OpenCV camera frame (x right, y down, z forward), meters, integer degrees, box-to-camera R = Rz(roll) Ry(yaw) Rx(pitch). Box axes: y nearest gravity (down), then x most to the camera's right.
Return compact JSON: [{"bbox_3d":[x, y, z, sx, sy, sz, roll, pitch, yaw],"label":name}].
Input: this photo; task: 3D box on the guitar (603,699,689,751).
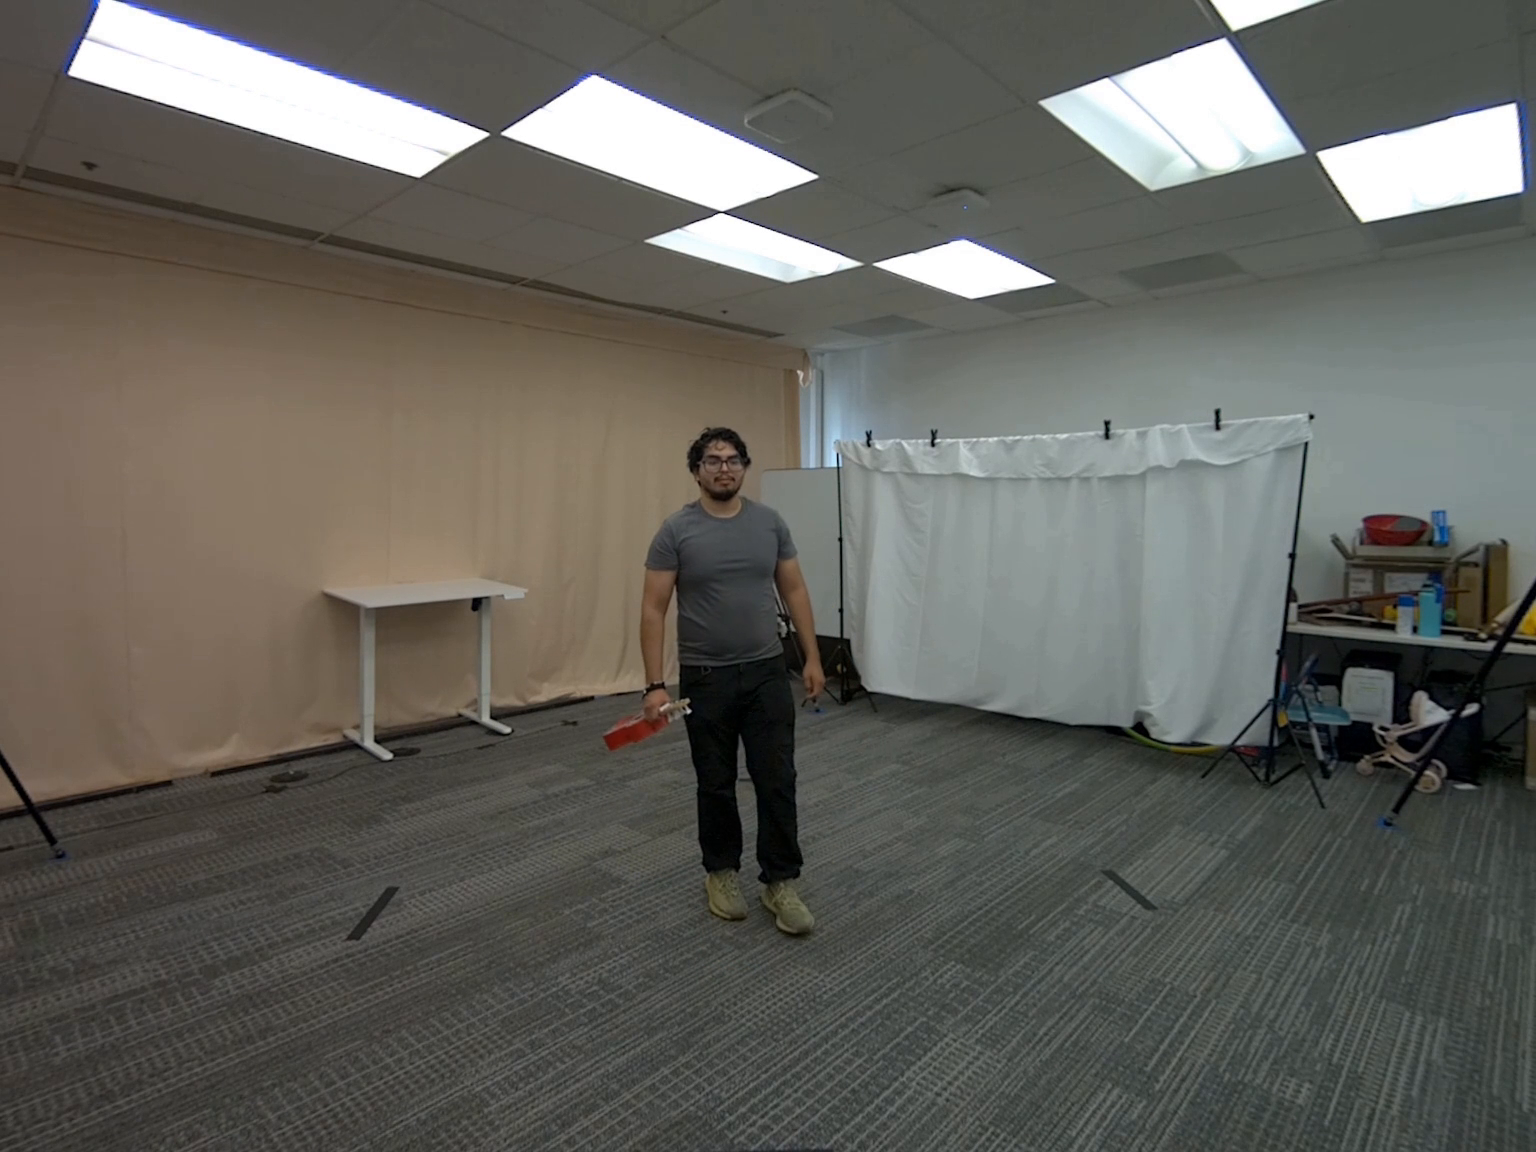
[{"bbox_3d":[-0.393,0.490,2.741,0.190,0.071,0.505,-29,1,-29],"label":"guitar"}]
